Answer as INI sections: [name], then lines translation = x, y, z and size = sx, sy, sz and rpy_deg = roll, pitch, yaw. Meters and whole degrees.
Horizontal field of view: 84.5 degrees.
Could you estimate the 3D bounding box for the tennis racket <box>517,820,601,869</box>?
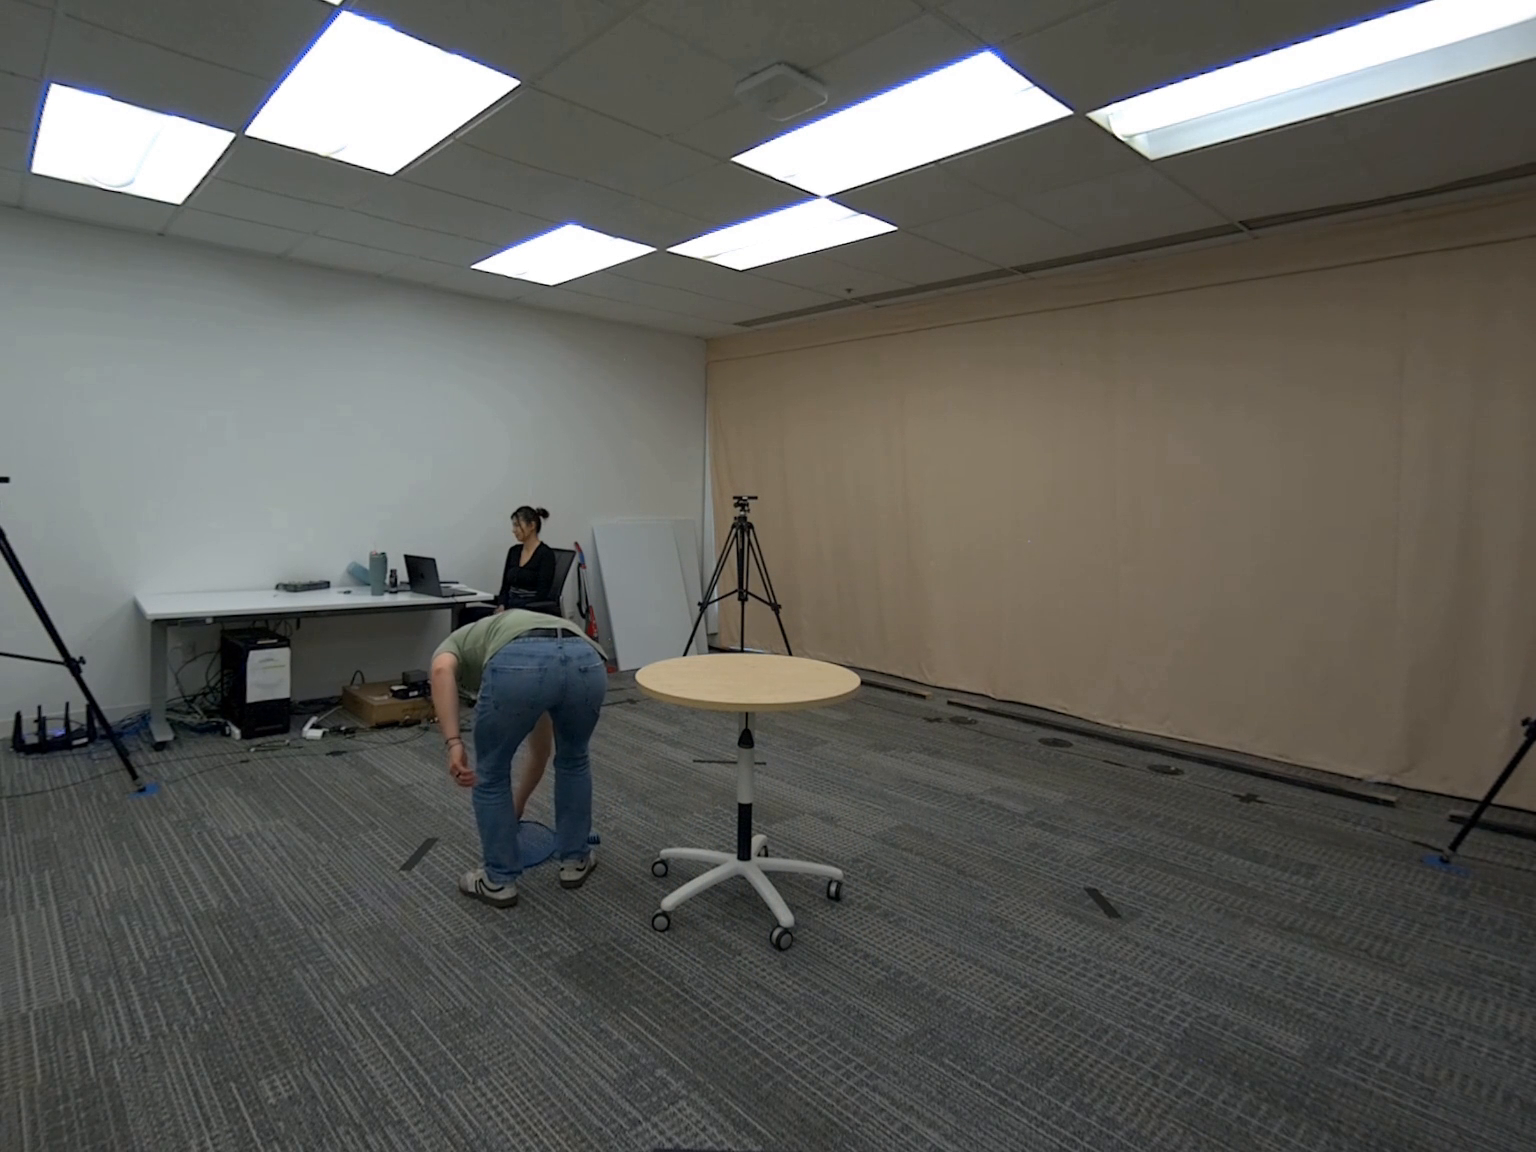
[tennis racket]
translation = -0.870, 1.020, 3.224
size = 0.428, 0.031, 0.220
rpy_deg = -2, 34, -14
